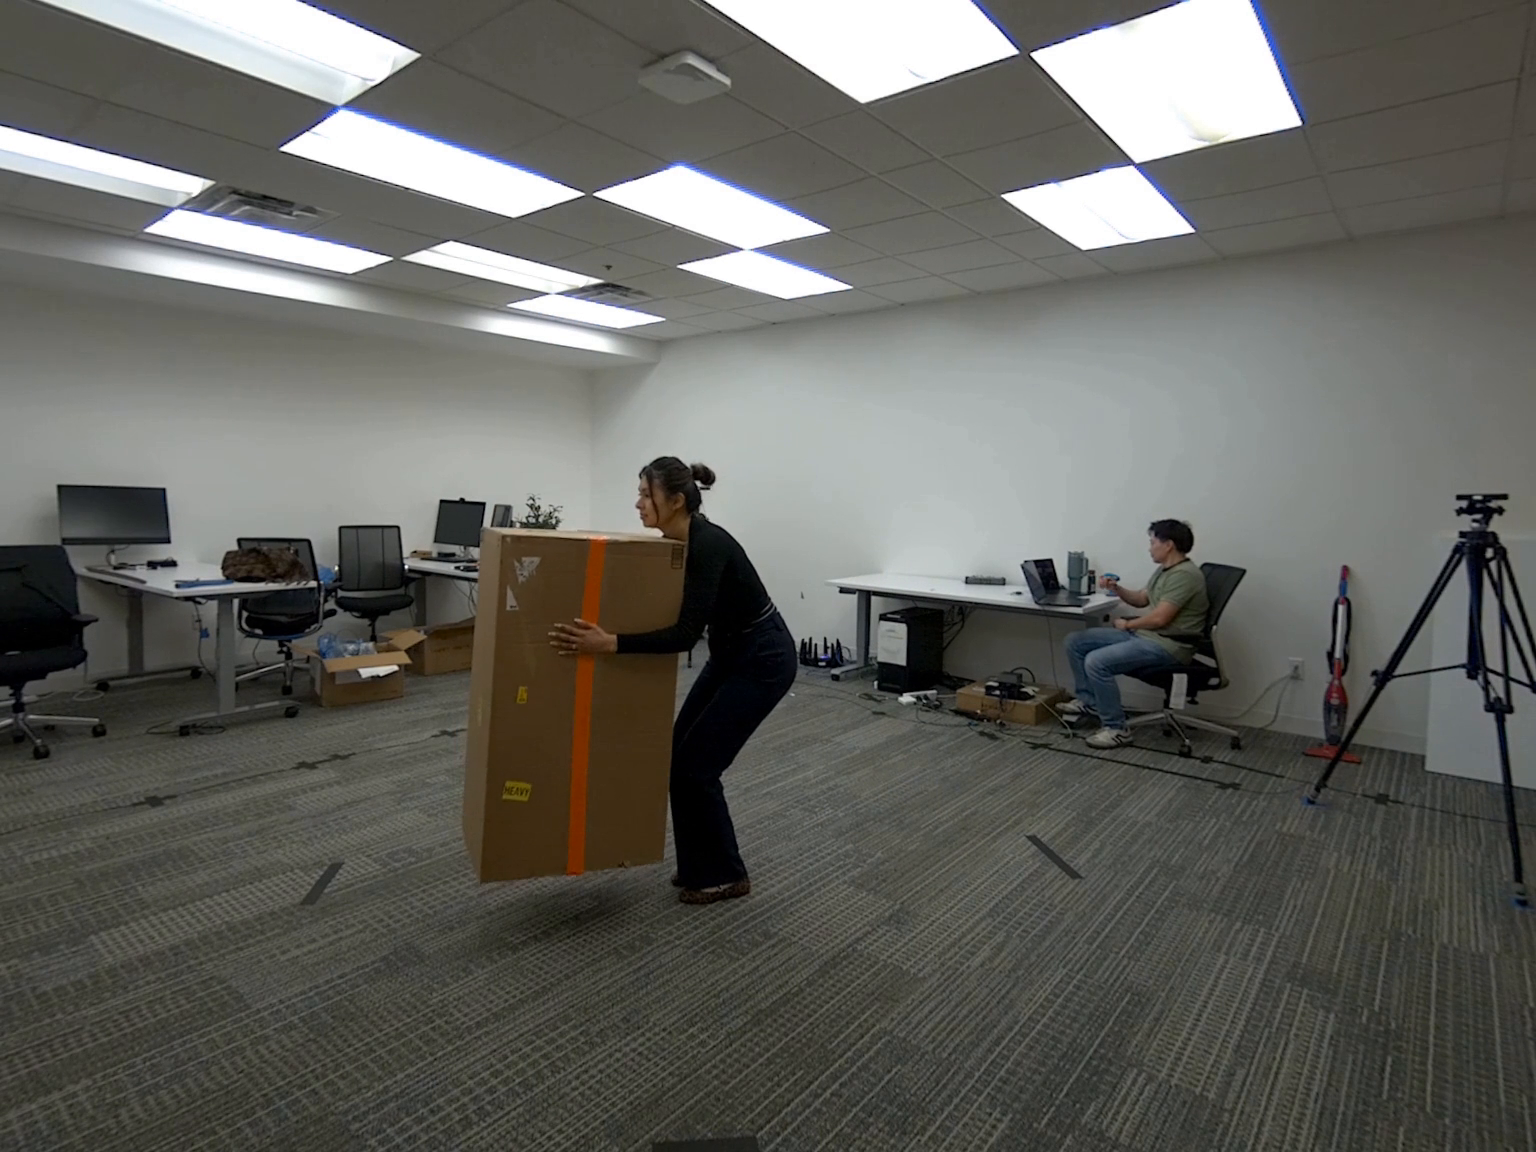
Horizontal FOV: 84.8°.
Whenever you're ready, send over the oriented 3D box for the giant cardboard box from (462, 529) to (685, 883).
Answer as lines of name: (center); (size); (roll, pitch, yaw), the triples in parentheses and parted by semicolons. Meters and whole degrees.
giant cardboard box: (-0.655, 0.378, 2.752); (0.563, 1.024, 0.438); (3, 2, -25)
